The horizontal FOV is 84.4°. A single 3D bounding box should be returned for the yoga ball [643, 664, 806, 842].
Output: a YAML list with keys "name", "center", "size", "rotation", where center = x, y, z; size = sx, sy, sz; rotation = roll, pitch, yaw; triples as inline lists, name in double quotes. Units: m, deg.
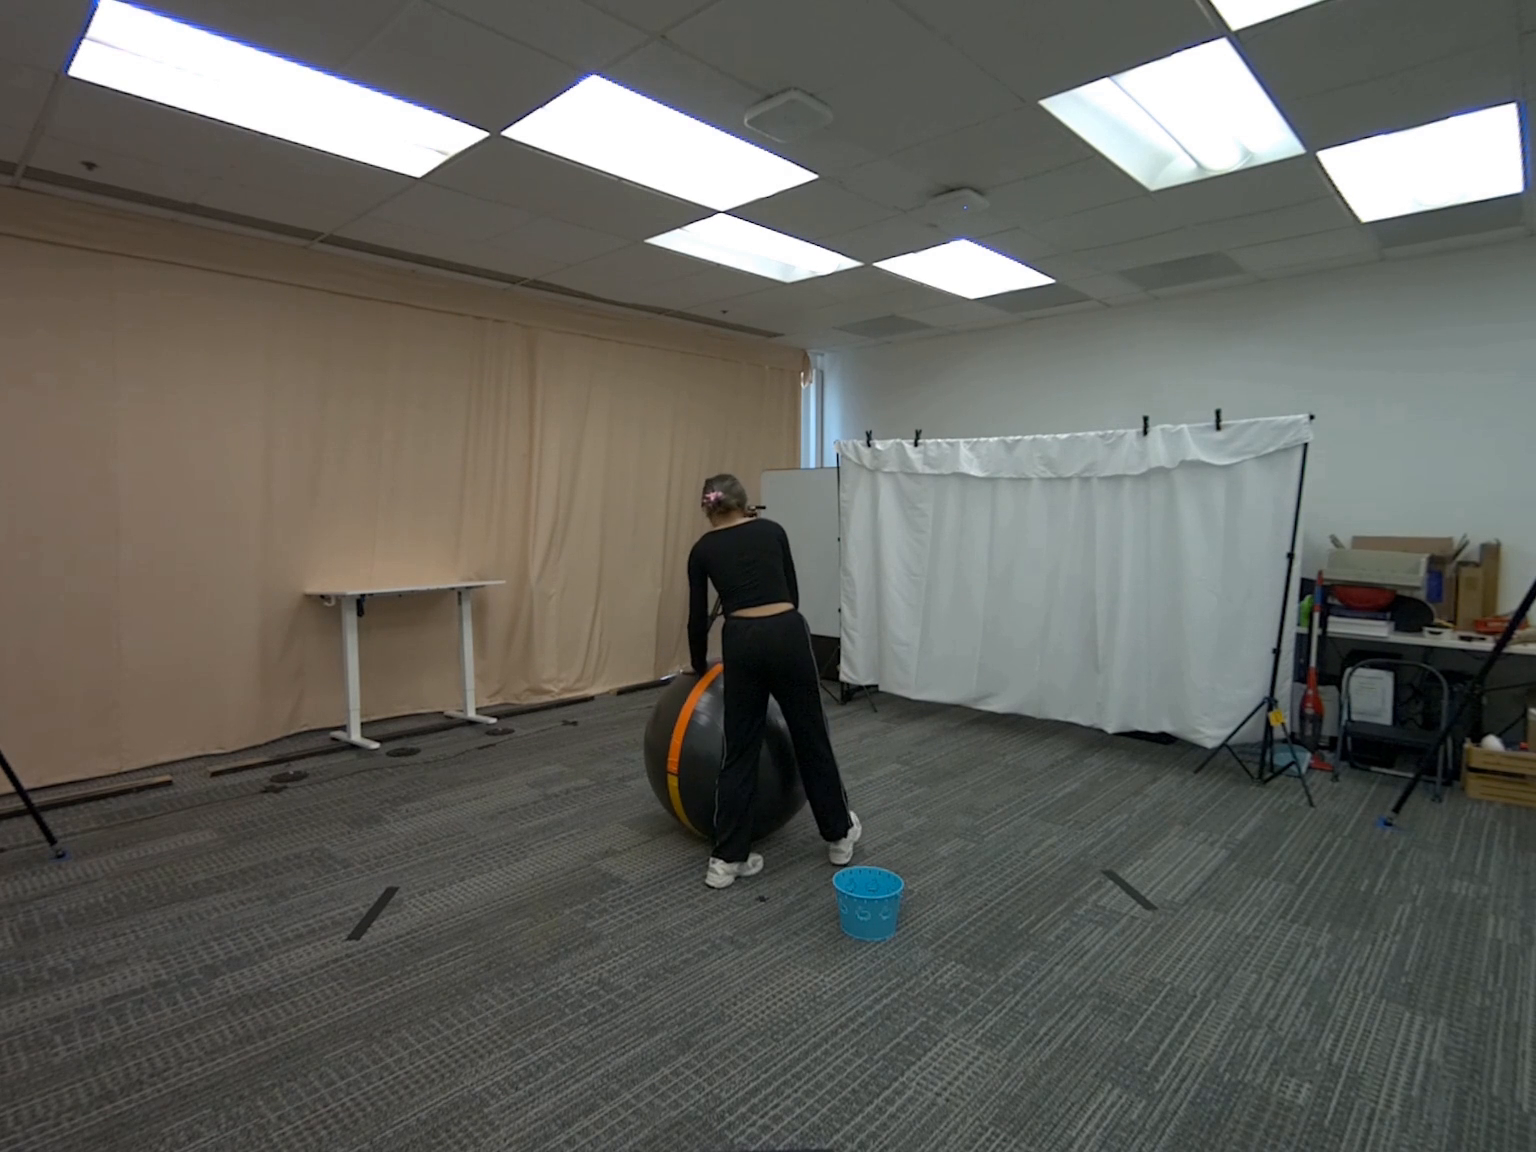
- name: "yoga ball"
  center: [-0.149, 0.728, 3.597]
  size: [0.757, 0.756, 0.760]
  rotation: [0, 4, -2]
